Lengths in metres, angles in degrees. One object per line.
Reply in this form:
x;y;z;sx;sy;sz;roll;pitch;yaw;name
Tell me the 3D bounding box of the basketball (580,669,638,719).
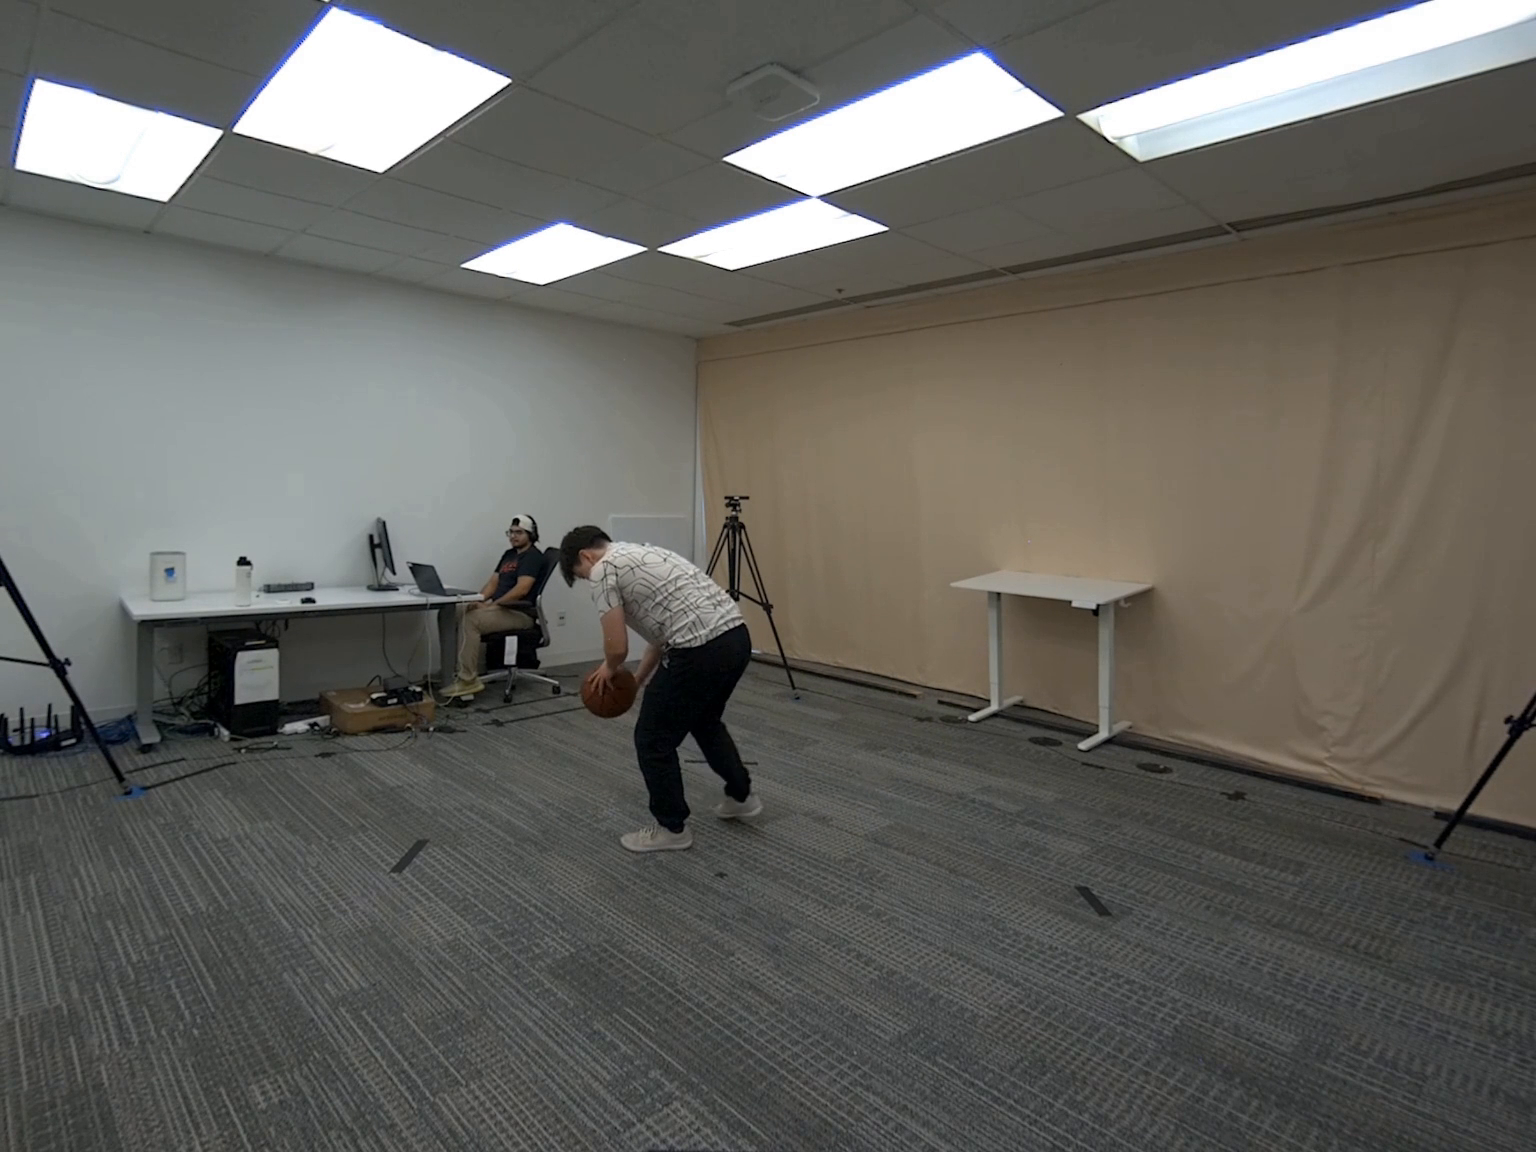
-0.680;0.488;3.583;0.236;0.235;0.237;1;4;-1;basketball
